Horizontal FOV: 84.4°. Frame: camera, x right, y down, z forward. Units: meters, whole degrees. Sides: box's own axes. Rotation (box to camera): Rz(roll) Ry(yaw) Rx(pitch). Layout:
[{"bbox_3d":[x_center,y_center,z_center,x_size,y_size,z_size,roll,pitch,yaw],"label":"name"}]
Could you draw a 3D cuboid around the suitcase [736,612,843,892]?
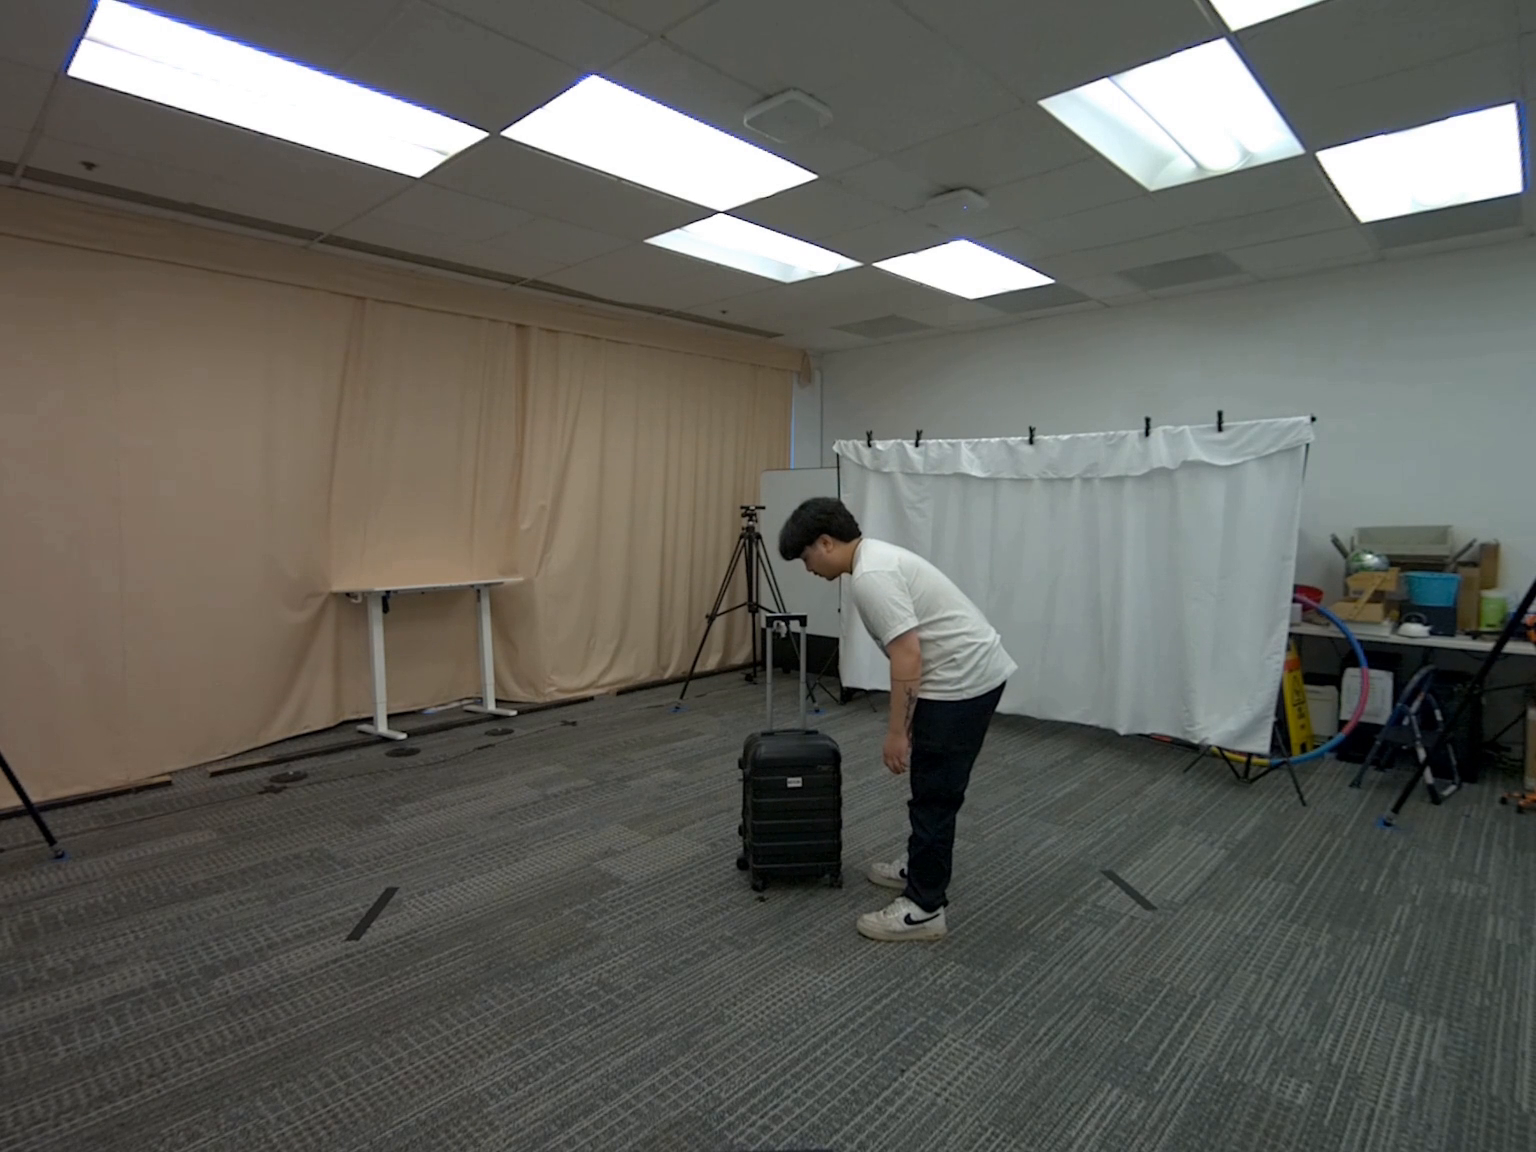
[{"bbox_3d":[0.091,0.656,3.119,0.382,0.975,0.259,0,5,-5],"label":"suitcase"}]
